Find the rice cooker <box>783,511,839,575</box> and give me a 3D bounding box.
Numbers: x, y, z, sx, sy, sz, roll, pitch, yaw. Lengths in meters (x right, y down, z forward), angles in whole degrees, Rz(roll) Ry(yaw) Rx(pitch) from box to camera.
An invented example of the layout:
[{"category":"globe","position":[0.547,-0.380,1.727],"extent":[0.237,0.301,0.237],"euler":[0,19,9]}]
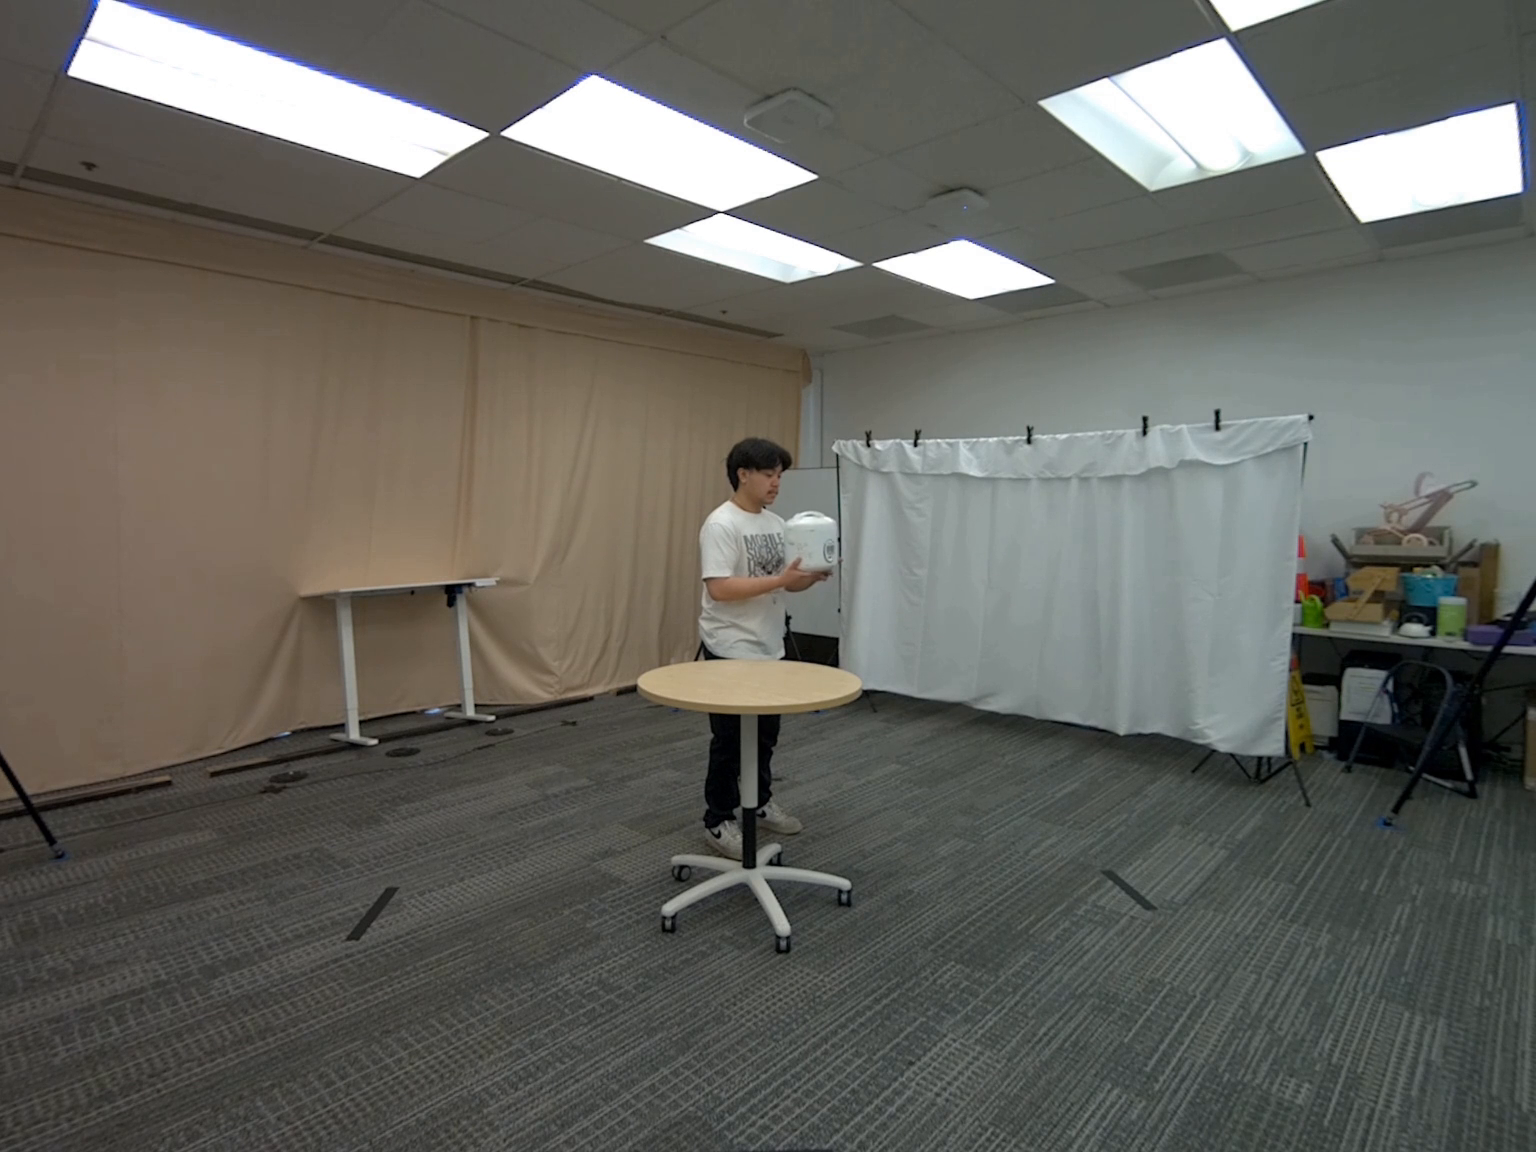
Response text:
[{"category":"rice cooker","position":[0.169,-0.136,3.304],"extent":[0.214,0.232,0.224],"euler":[-6,5,-39]}]
